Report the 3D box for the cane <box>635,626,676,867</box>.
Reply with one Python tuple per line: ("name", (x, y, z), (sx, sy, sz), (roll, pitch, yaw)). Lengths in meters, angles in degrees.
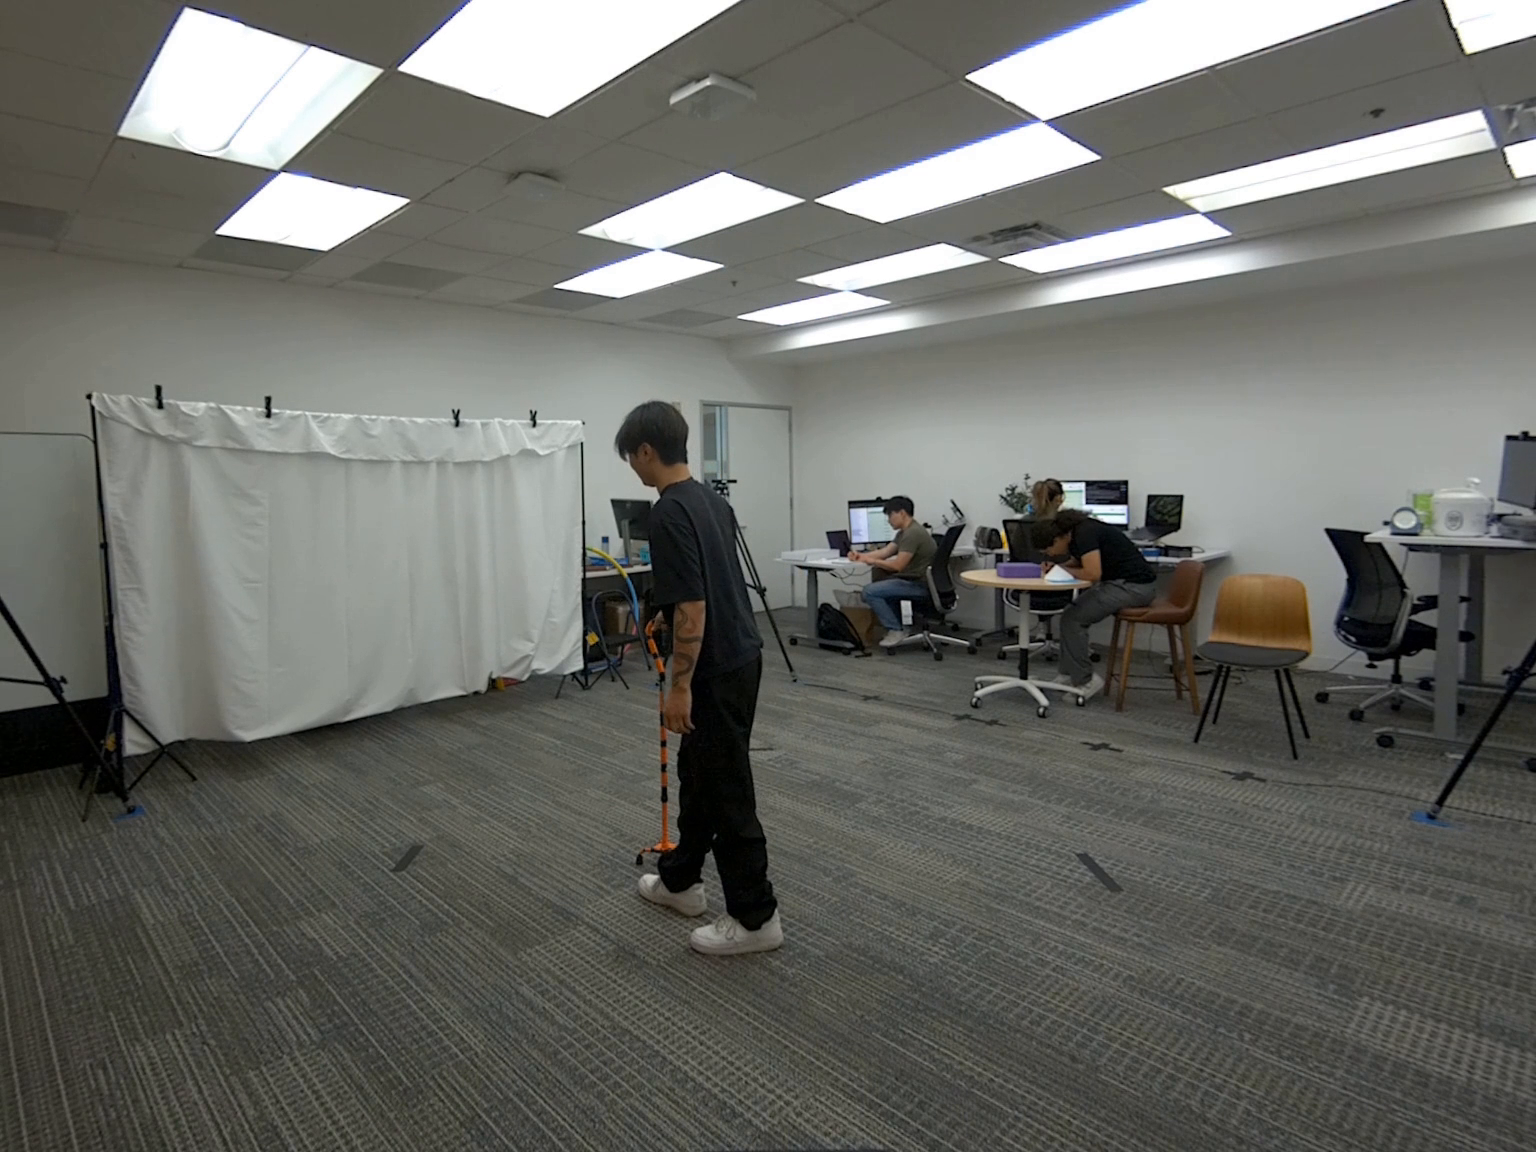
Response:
("cane", (-0.370, 0.601, 3.106), (0.212, 0.906, 0.148), (0, 2, 30))
